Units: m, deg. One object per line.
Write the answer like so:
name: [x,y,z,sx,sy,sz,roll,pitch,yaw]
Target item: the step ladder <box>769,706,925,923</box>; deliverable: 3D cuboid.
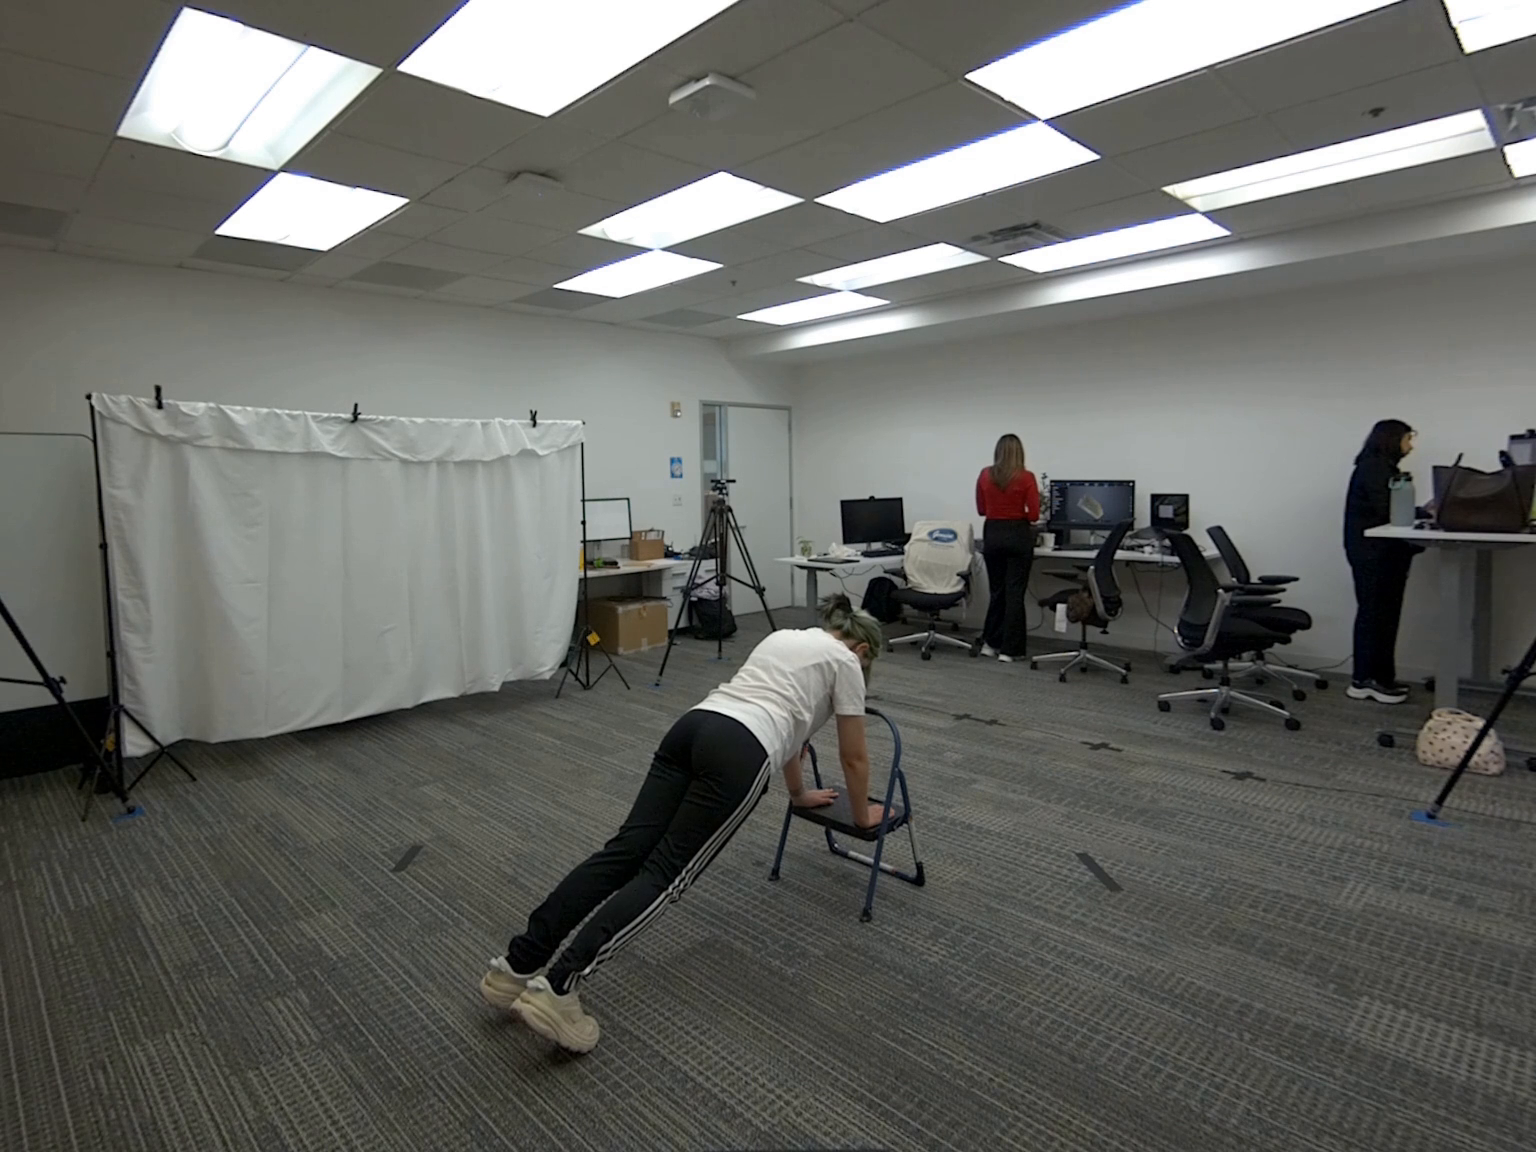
step ladder: [0.271,0.758,2.938,0.444,0.604,0.340,3,6,45]
